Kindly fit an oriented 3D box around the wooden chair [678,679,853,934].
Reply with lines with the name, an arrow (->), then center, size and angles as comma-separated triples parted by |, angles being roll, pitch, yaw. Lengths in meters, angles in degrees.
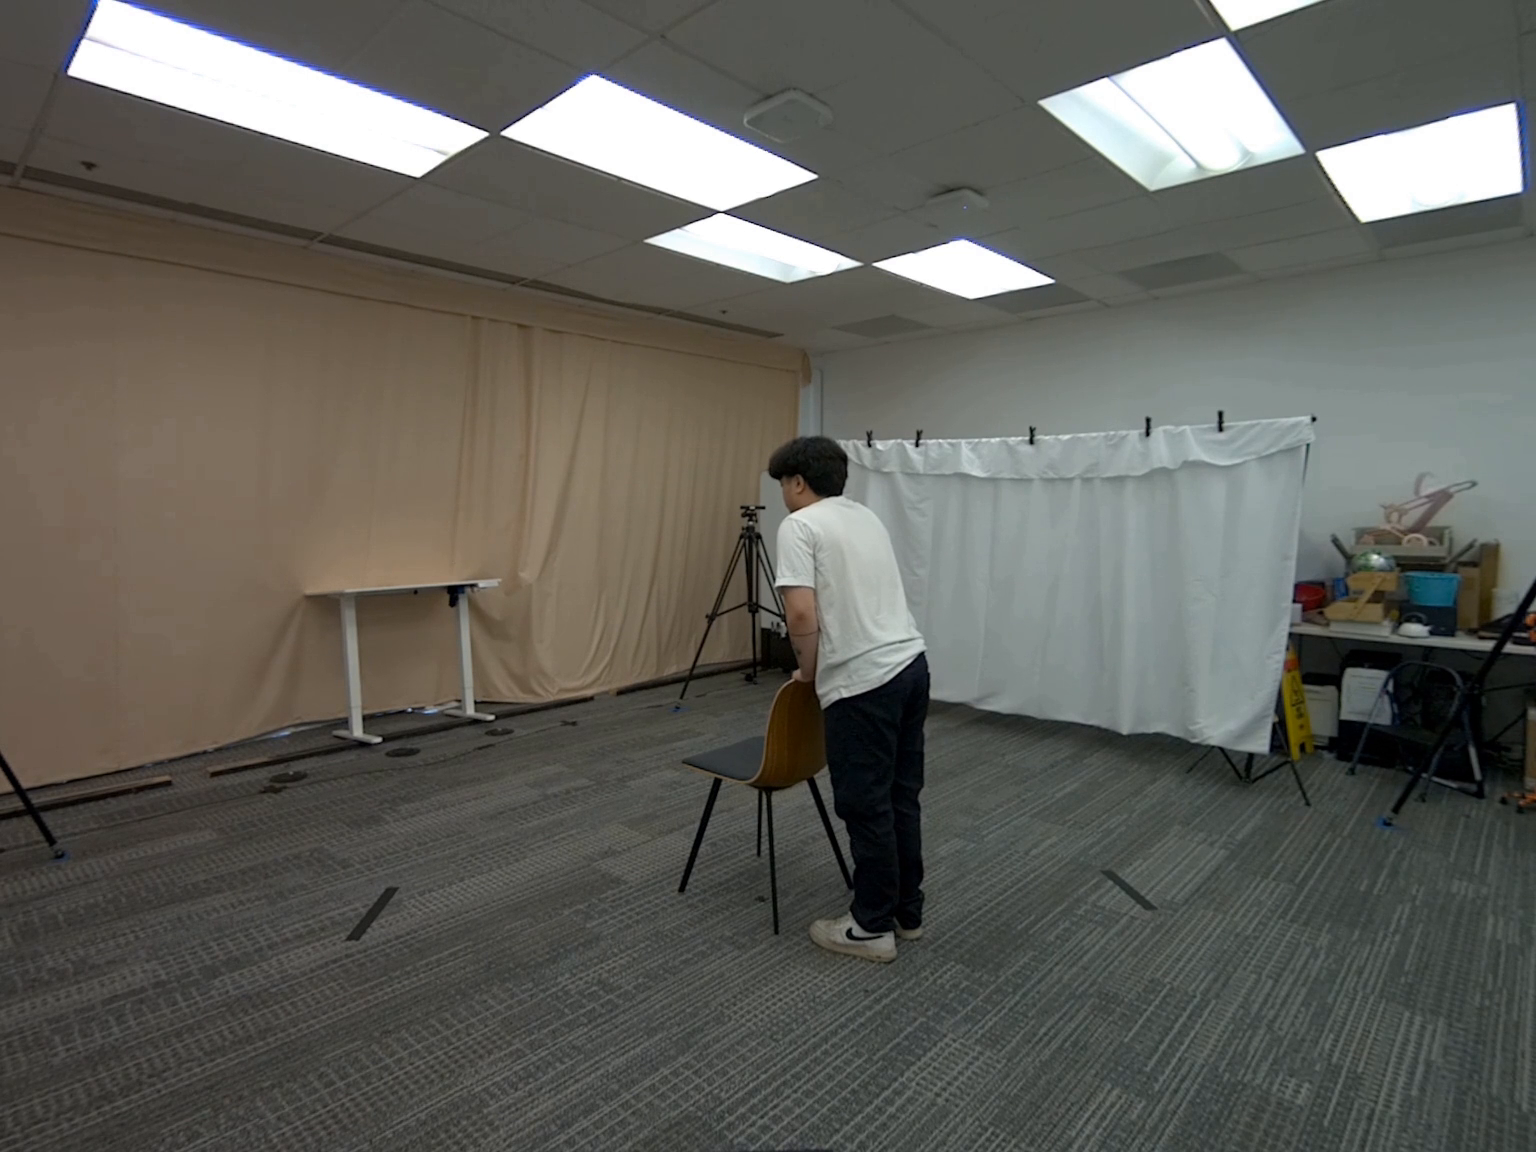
wooden chair -> -0.011, 0.717, 3.025 | 0.541, 0.874, 0.463 | 9, 9, 41
